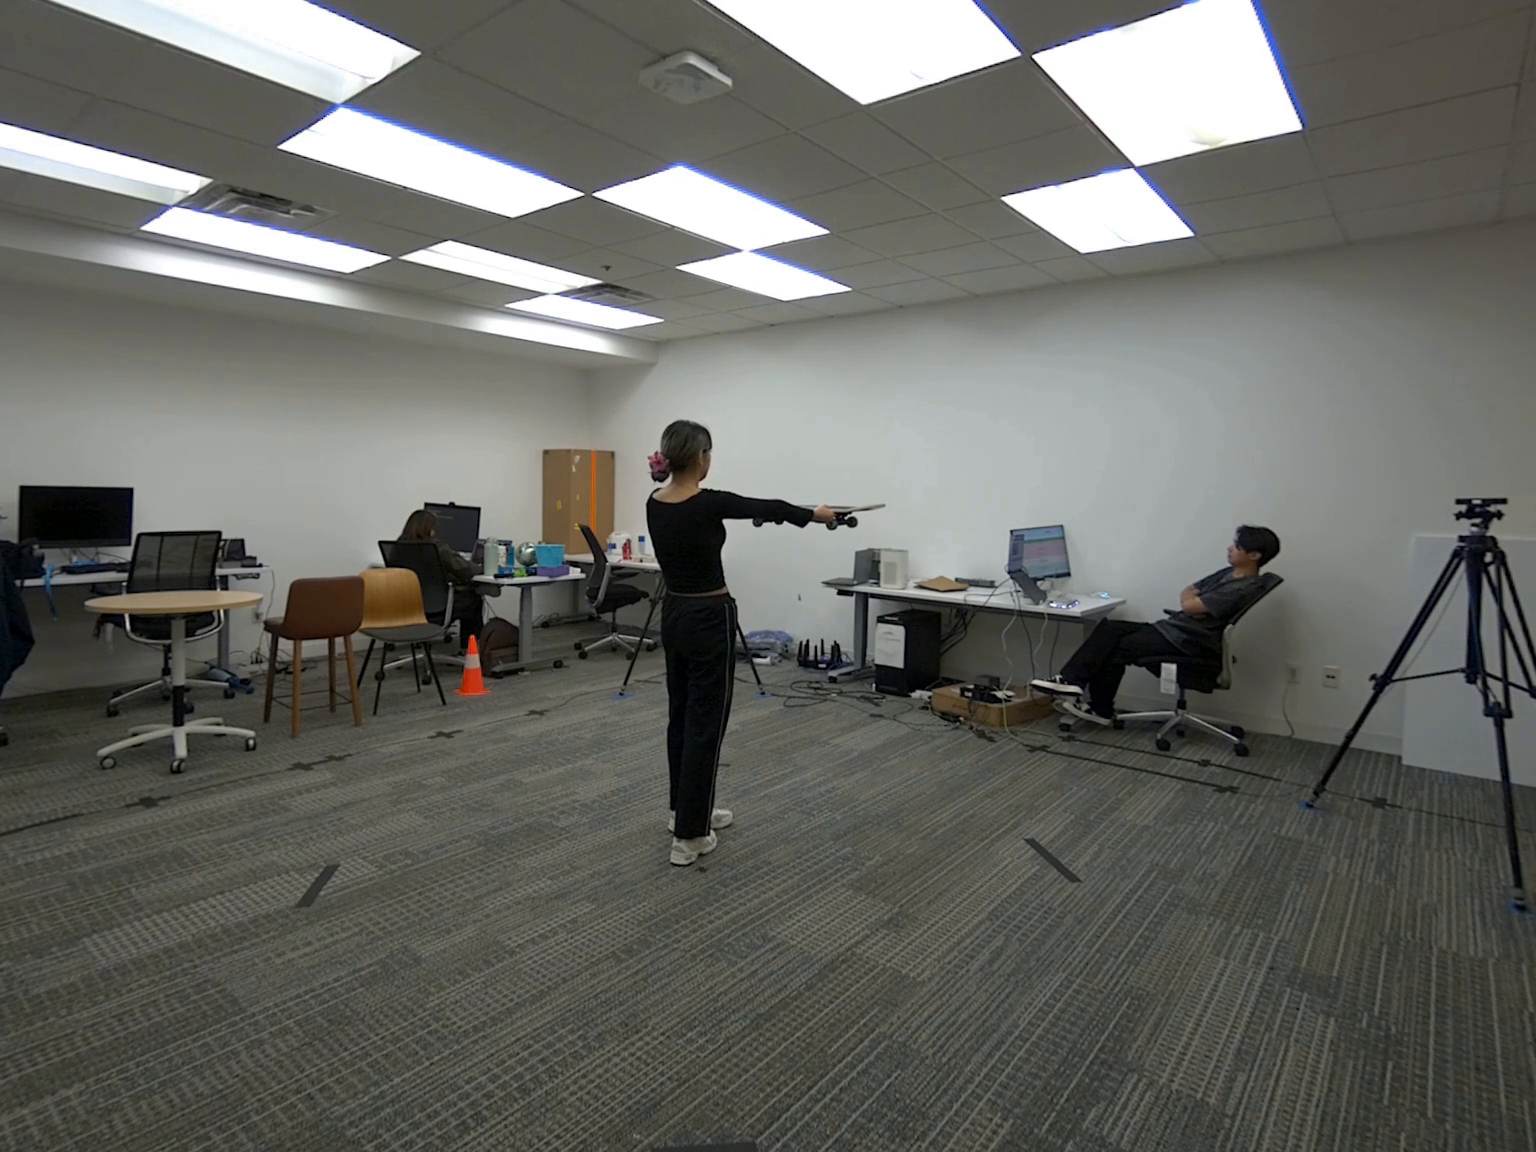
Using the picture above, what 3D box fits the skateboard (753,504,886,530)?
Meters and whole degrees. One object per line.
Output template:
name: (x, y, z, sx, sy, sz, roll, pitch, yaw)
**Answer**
skateboard: (0.139, -0.273, 3.715, 0.812, 0.110, 0.188, 5, 10, 40)
